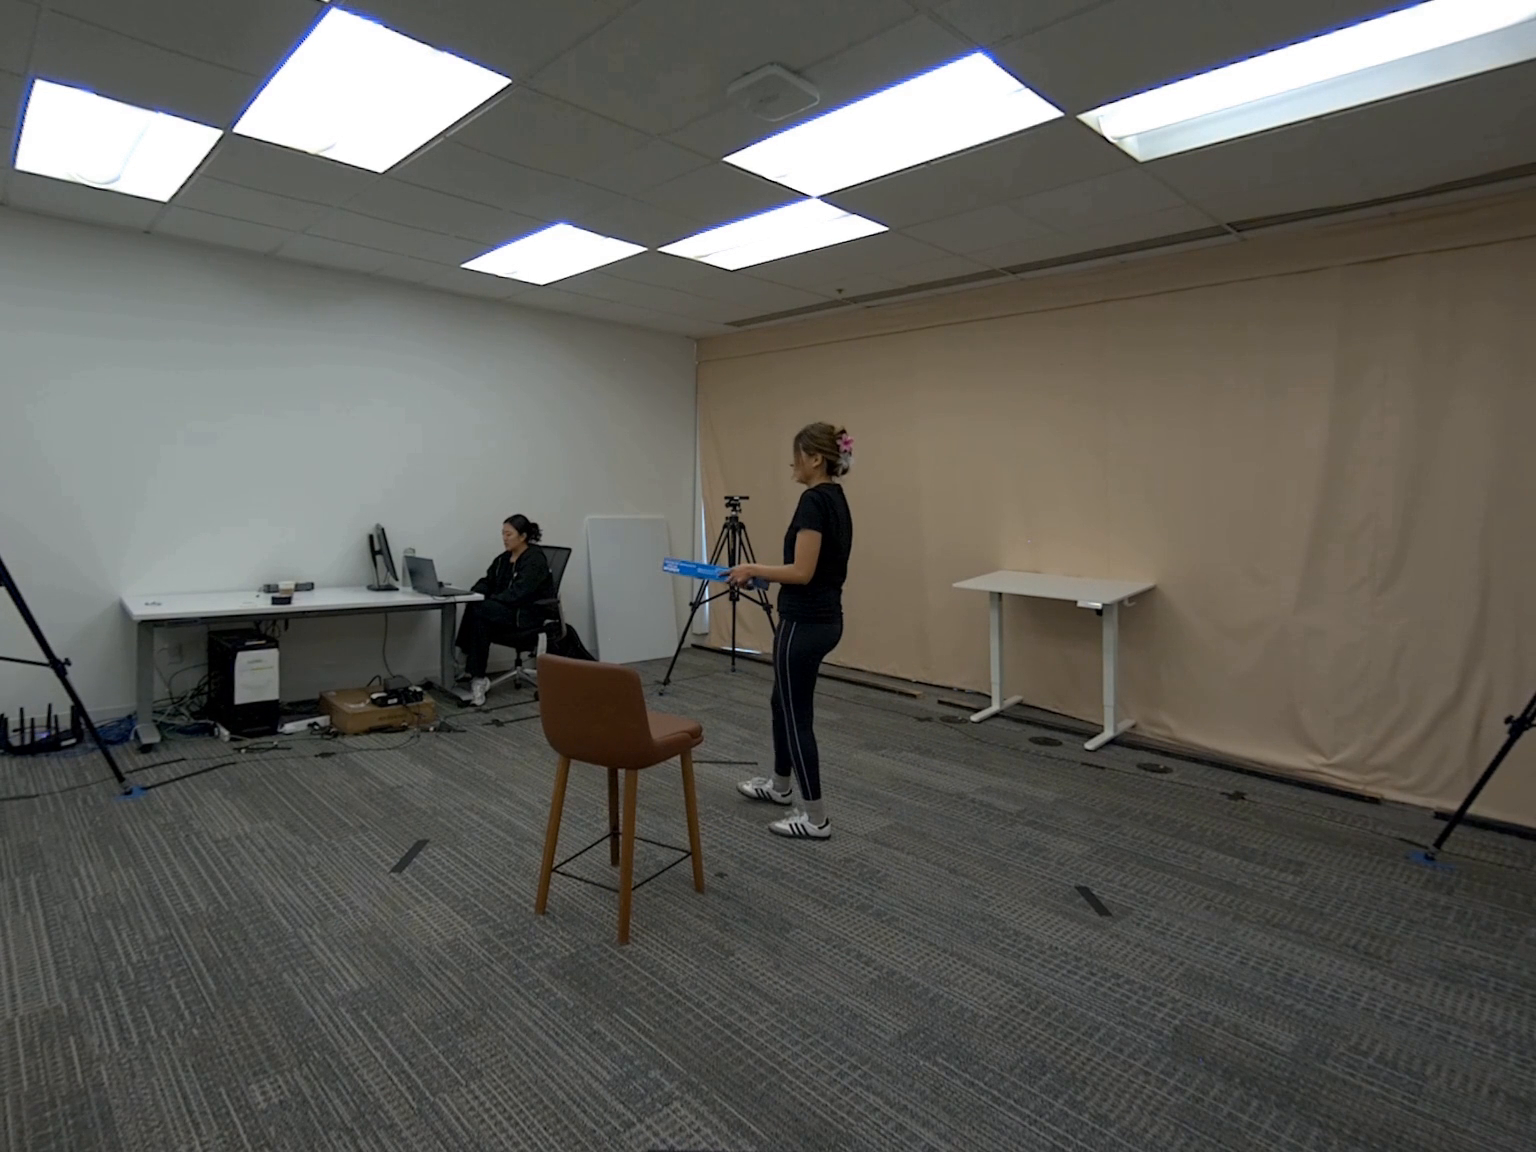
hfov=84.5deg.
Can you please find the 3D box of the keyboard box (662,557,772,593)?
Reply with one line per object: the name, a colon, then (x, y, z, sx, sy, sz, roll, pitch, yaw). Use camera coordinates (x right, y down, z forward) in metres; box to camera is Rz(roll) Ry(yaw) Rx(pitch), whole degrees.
keyboard box: (-0.220, -0.006, 3.623, 0.446, 0.059, 0.172, 10, -4, 25)
